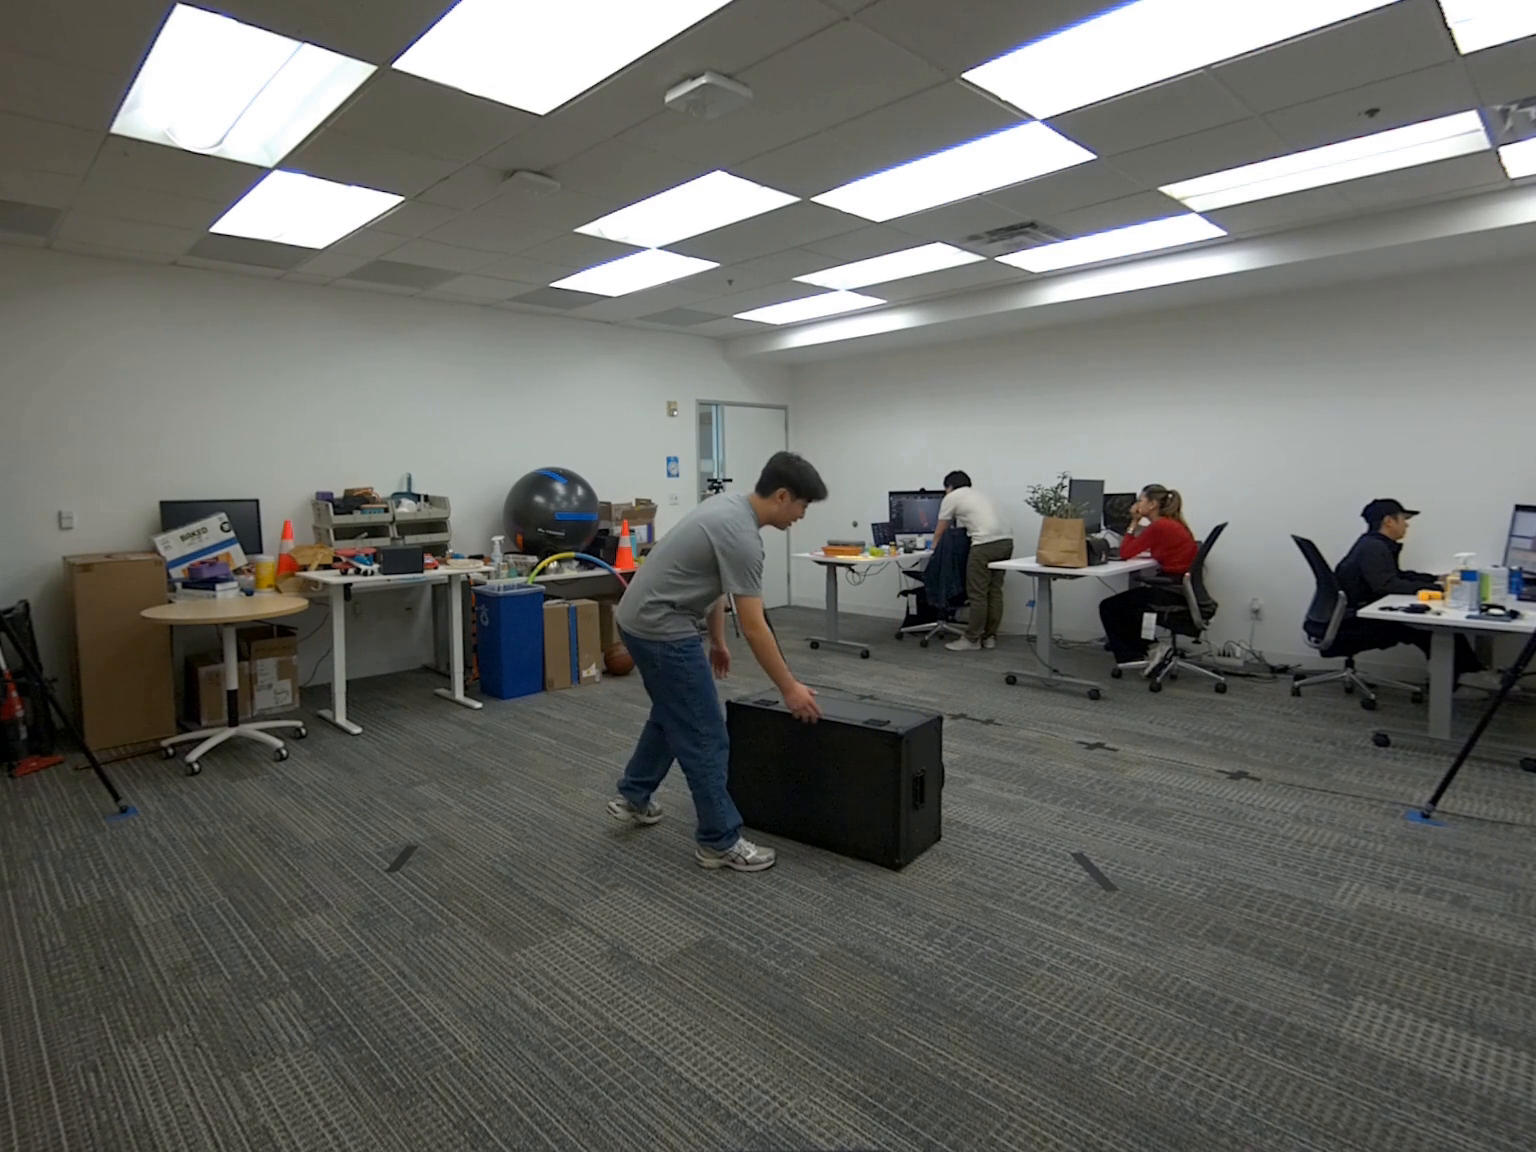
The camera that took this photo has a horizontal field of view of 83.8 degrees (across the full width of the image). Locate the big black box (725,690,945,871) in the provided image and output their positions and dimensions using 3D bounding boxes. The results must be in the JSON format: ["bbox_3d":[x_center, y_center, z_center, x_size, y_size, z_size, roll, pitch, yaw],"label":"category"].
[{"bbox_3d":[0.232,0.748,3.407,0.886,0.520,0.386,3,4,36],"label":"big black box"}]
